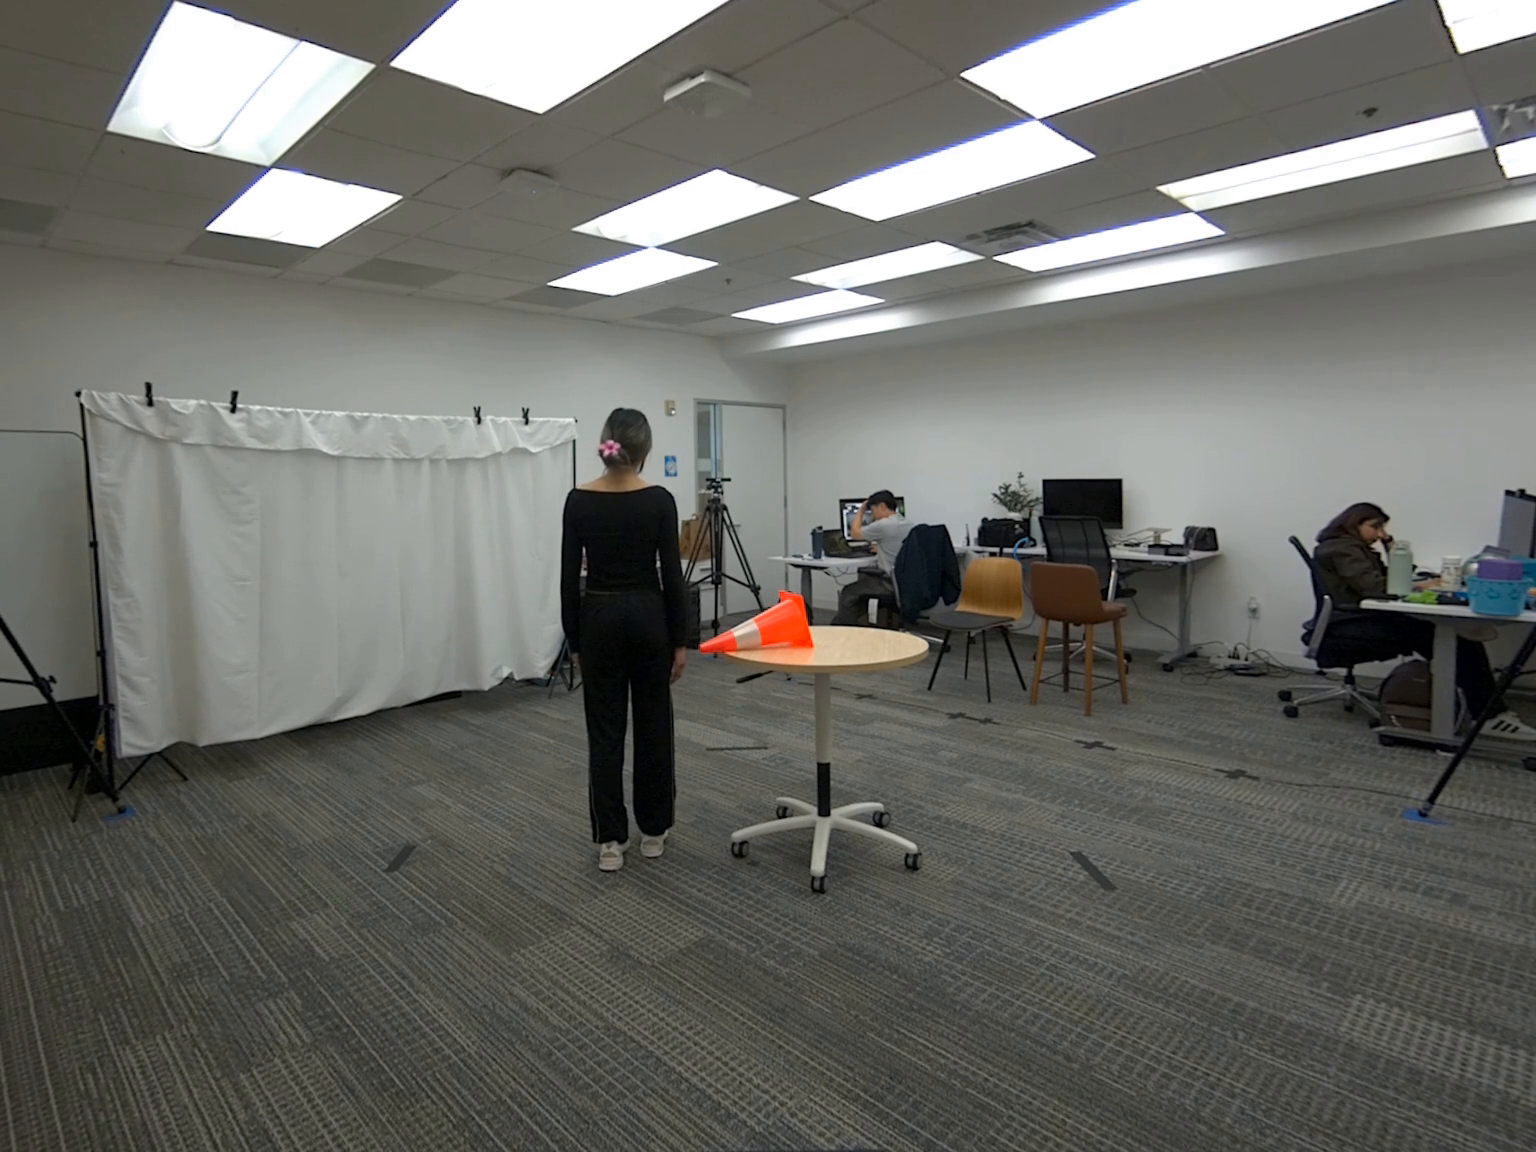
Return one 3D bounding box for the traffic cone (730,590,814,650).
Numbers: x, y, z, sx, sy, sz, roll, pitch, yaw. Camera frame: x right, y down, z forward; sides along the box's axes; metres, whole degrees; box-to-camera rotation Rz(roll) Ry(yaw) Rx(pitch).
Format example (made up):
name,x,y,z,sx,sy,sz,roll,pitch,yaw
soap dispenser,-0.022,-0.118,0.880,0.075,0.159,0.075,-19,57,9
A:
name,x,y,z,sx,sy,sz,roll,pitch,yaw
traffic cone,-0.066,0.207,3.064,0.379,0.202,0.208,-15,6,-16
